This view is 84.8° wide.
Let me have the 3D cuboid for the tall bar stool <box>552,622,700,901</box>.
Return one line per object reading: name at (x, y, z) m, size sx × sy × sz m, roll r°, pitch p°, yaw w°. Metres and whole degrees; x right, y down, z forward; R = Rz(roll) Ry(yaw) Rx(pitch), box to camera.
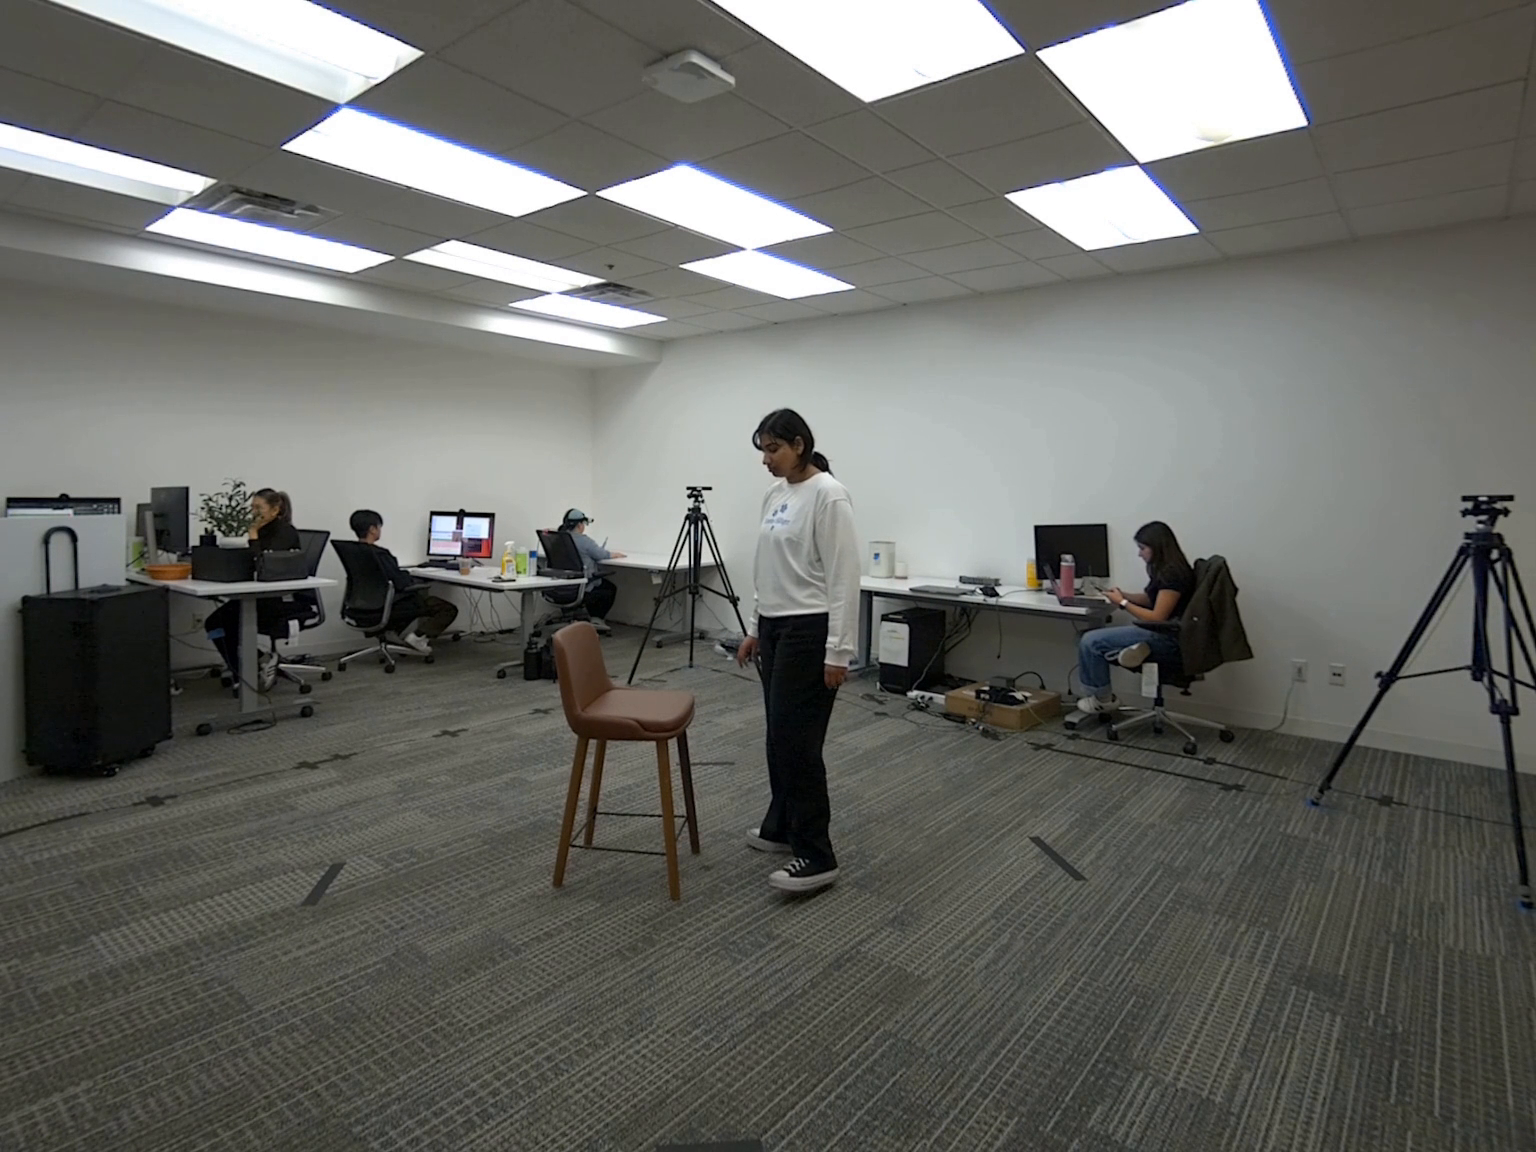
tall bar stool at (-0.505, 0.631, 3.073) m, size 0.472 × 0.888 × 0.453 m, roll 0°, pitch 3°, yaw 8°
